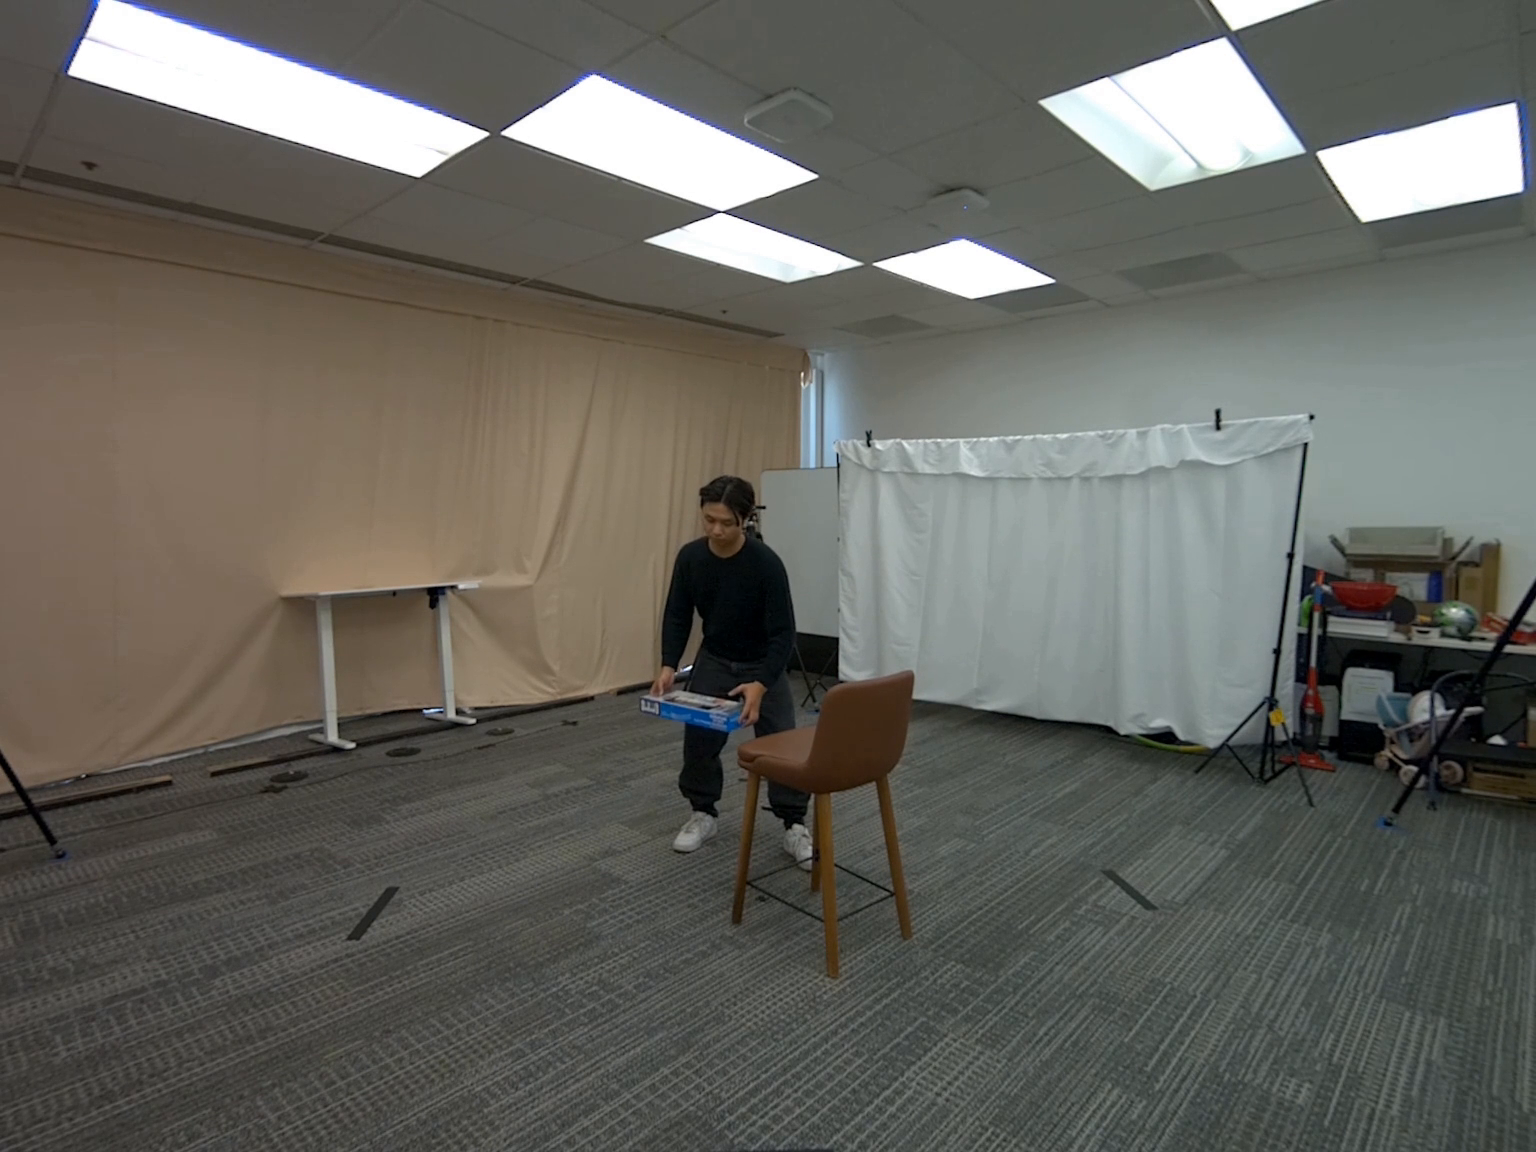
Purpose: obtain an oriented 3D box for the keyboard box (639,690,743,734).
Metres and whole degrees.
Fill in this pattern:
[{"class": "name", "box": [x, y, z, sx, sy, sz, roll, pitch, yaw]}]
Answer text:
[{"class": "keyboard box", "box": [-0.273, 0.504, 3.198, 0.451, 0.059, 0.171, 5, 8, 38]}]
